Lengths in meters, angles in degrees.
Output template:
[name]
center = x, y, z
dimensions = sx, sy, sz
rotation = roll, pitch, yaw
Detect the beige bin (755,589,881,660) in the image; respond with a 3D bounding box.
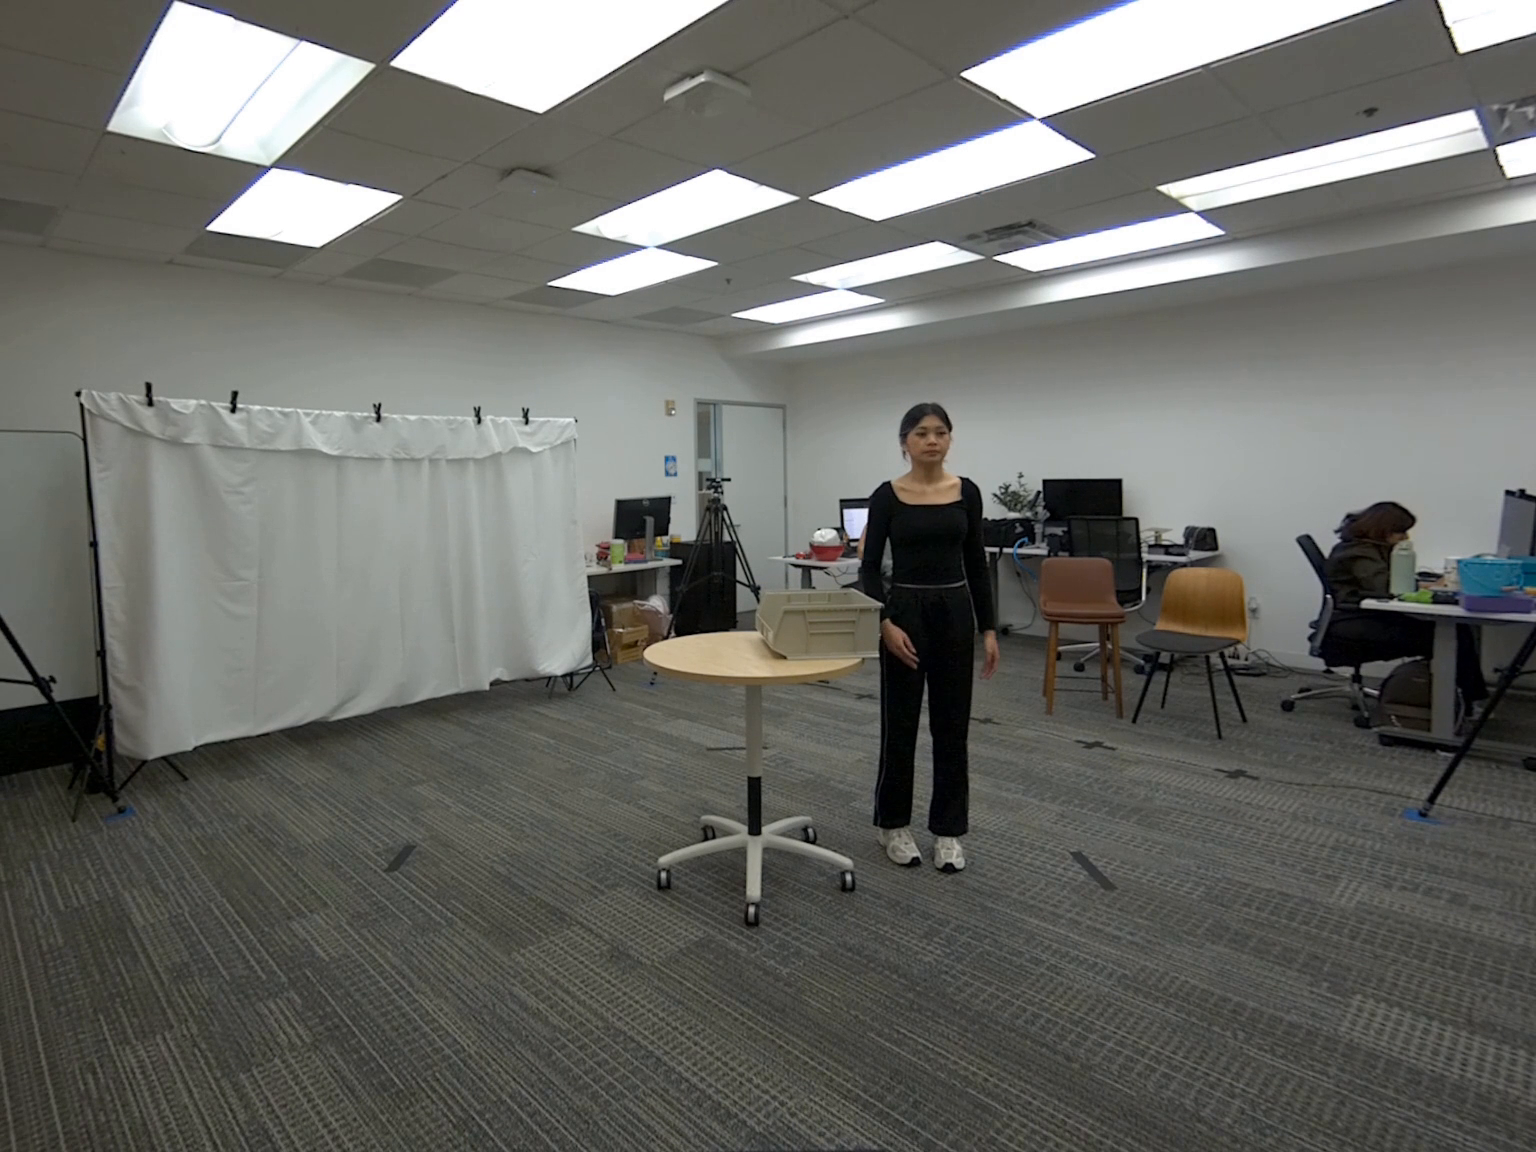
[beige bin]
center = 0.165, 0.163, 3.038
dimensions = 0.375, 0.188, 0.427
rotation = 0, 6, -7
